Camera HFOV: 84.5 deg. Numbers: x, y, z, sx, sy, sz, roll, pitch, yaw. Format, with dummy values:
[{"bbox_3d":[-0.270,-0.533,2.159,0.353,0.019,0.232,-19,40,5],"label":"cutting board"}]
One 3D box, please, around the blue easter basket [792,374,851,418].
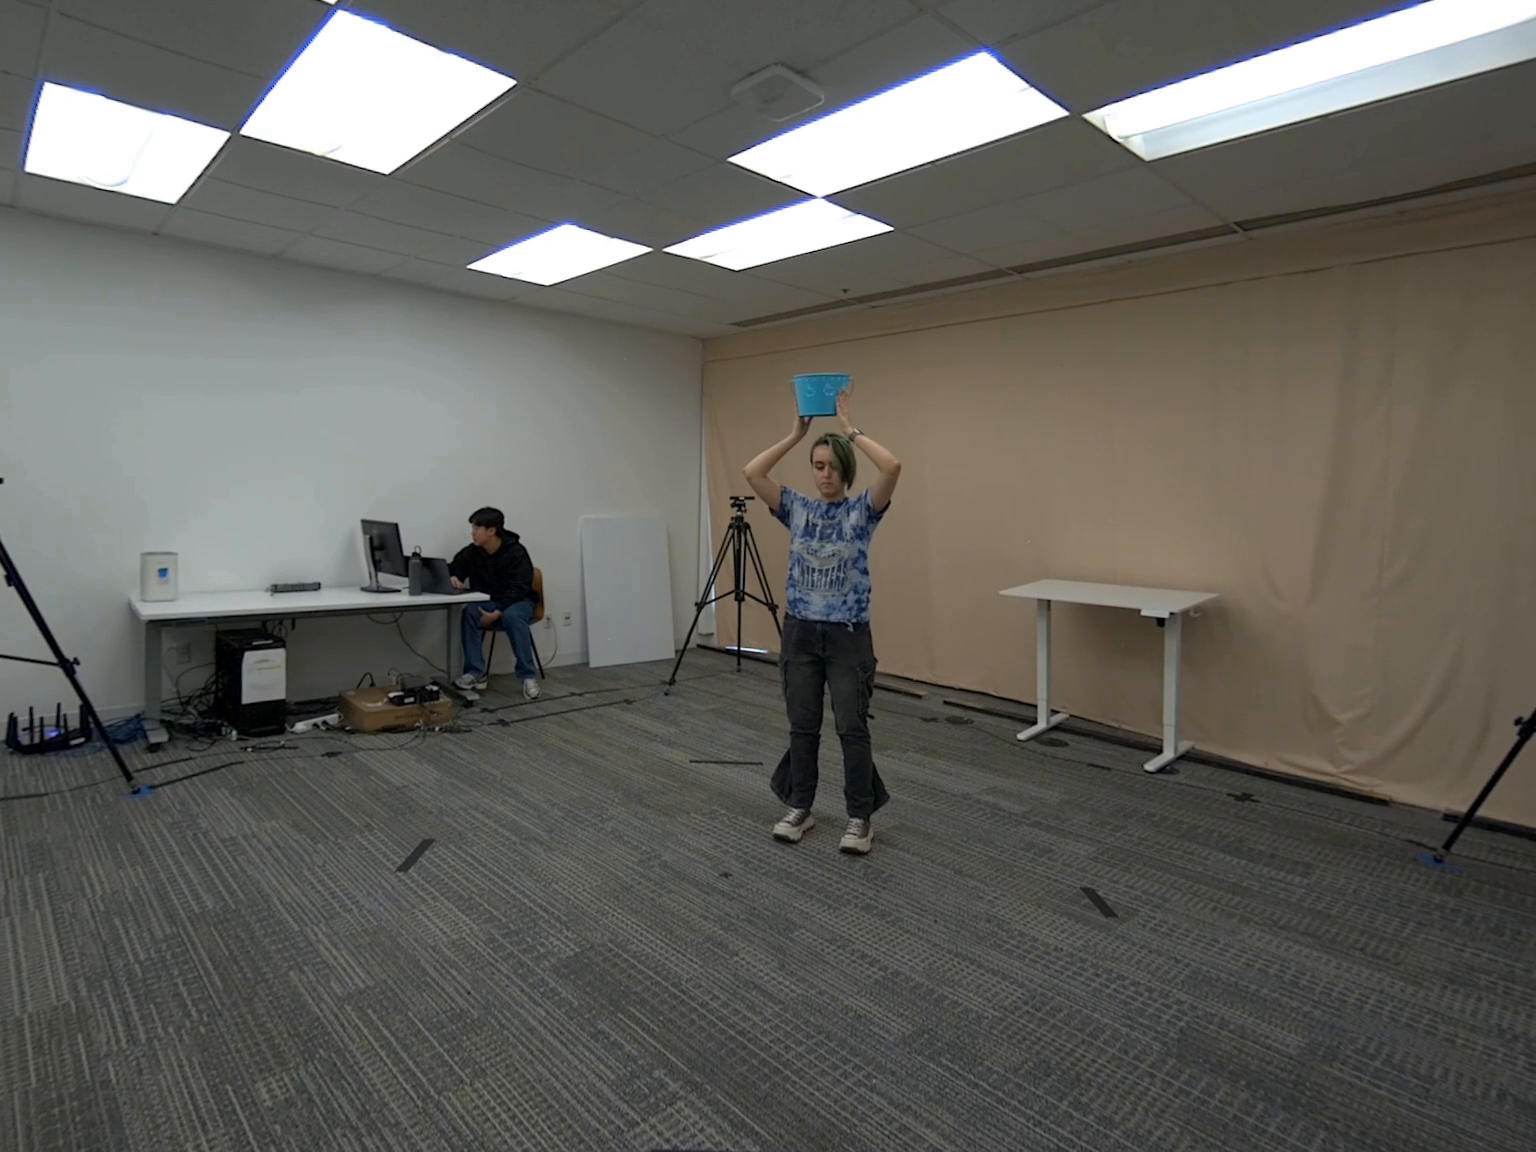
[{"bbox_3d":[0.217,-0.713,3.337,0.243,0.155,0.244,-1,6,-1],"label":"blue easter basket"}]
